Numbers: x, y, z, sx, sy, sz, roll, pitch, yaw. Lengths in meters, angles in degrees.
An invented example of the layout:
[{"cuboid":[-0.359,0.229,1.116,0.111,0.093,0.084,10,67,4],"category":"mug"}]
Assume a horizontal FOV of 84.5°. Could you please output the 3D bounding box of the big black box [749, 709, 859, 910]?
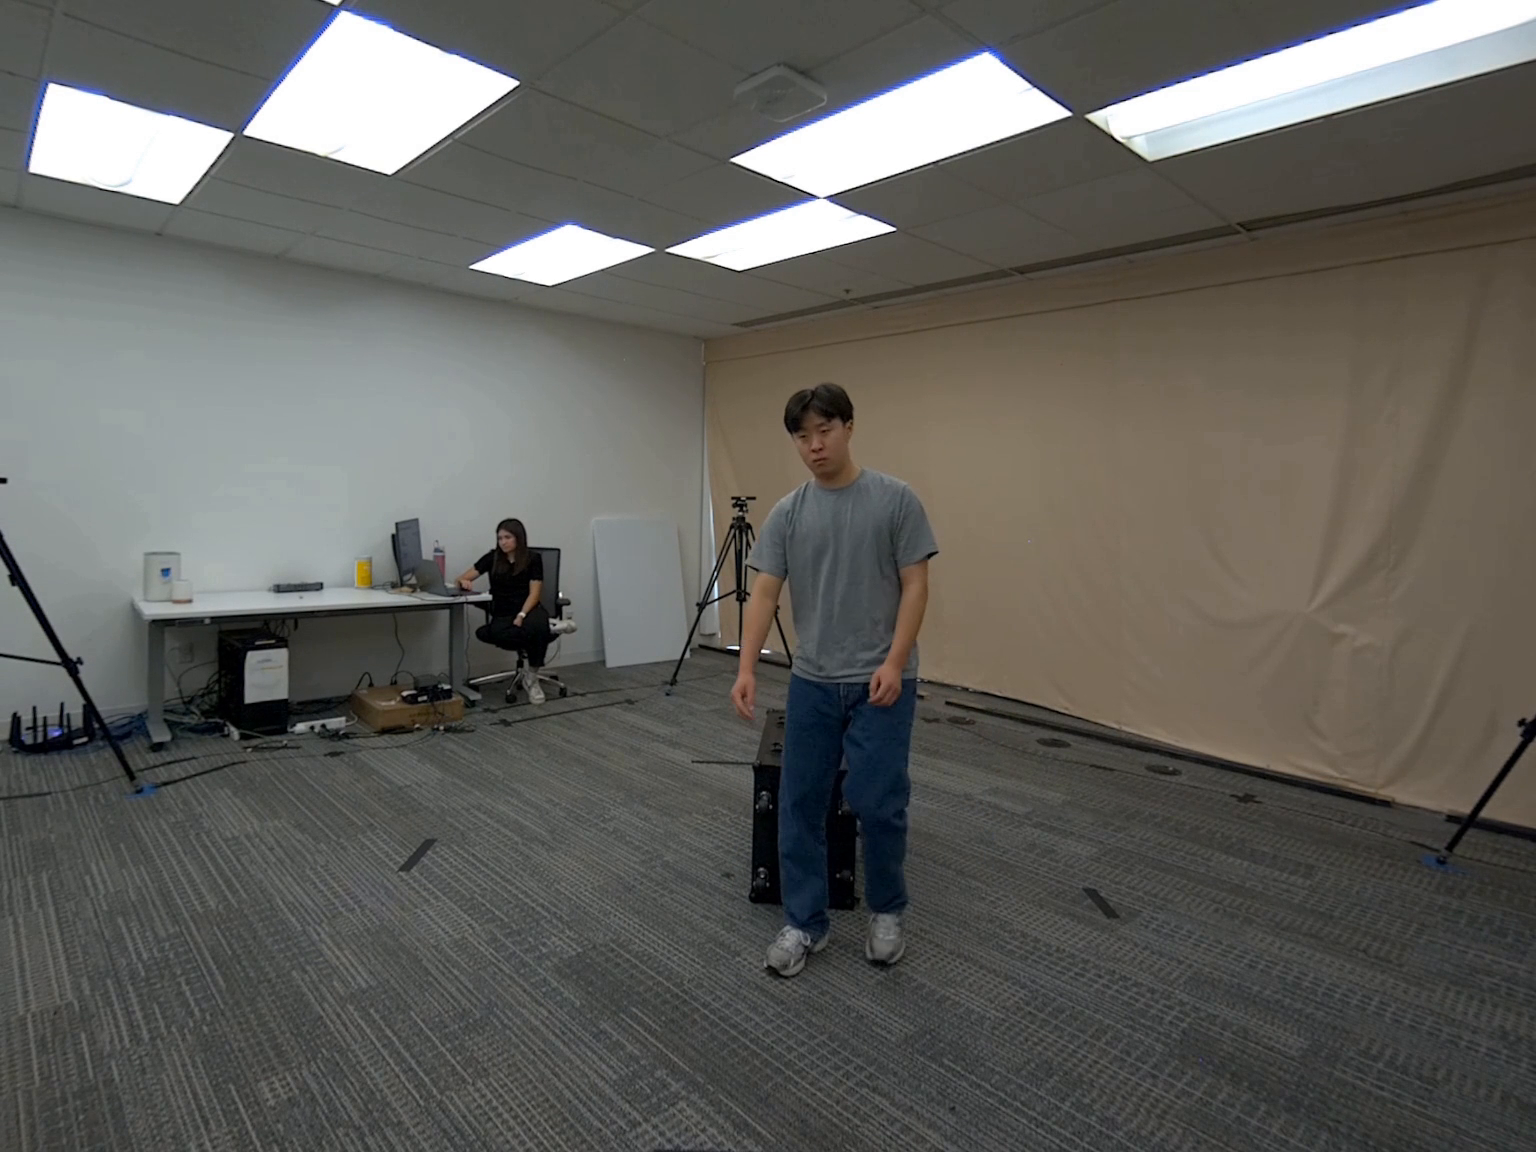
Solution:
[{"cuboid":[0.146,0.855,3.217,0.398,0.519,0.861,2,5,4],"category":"big black box"}]
